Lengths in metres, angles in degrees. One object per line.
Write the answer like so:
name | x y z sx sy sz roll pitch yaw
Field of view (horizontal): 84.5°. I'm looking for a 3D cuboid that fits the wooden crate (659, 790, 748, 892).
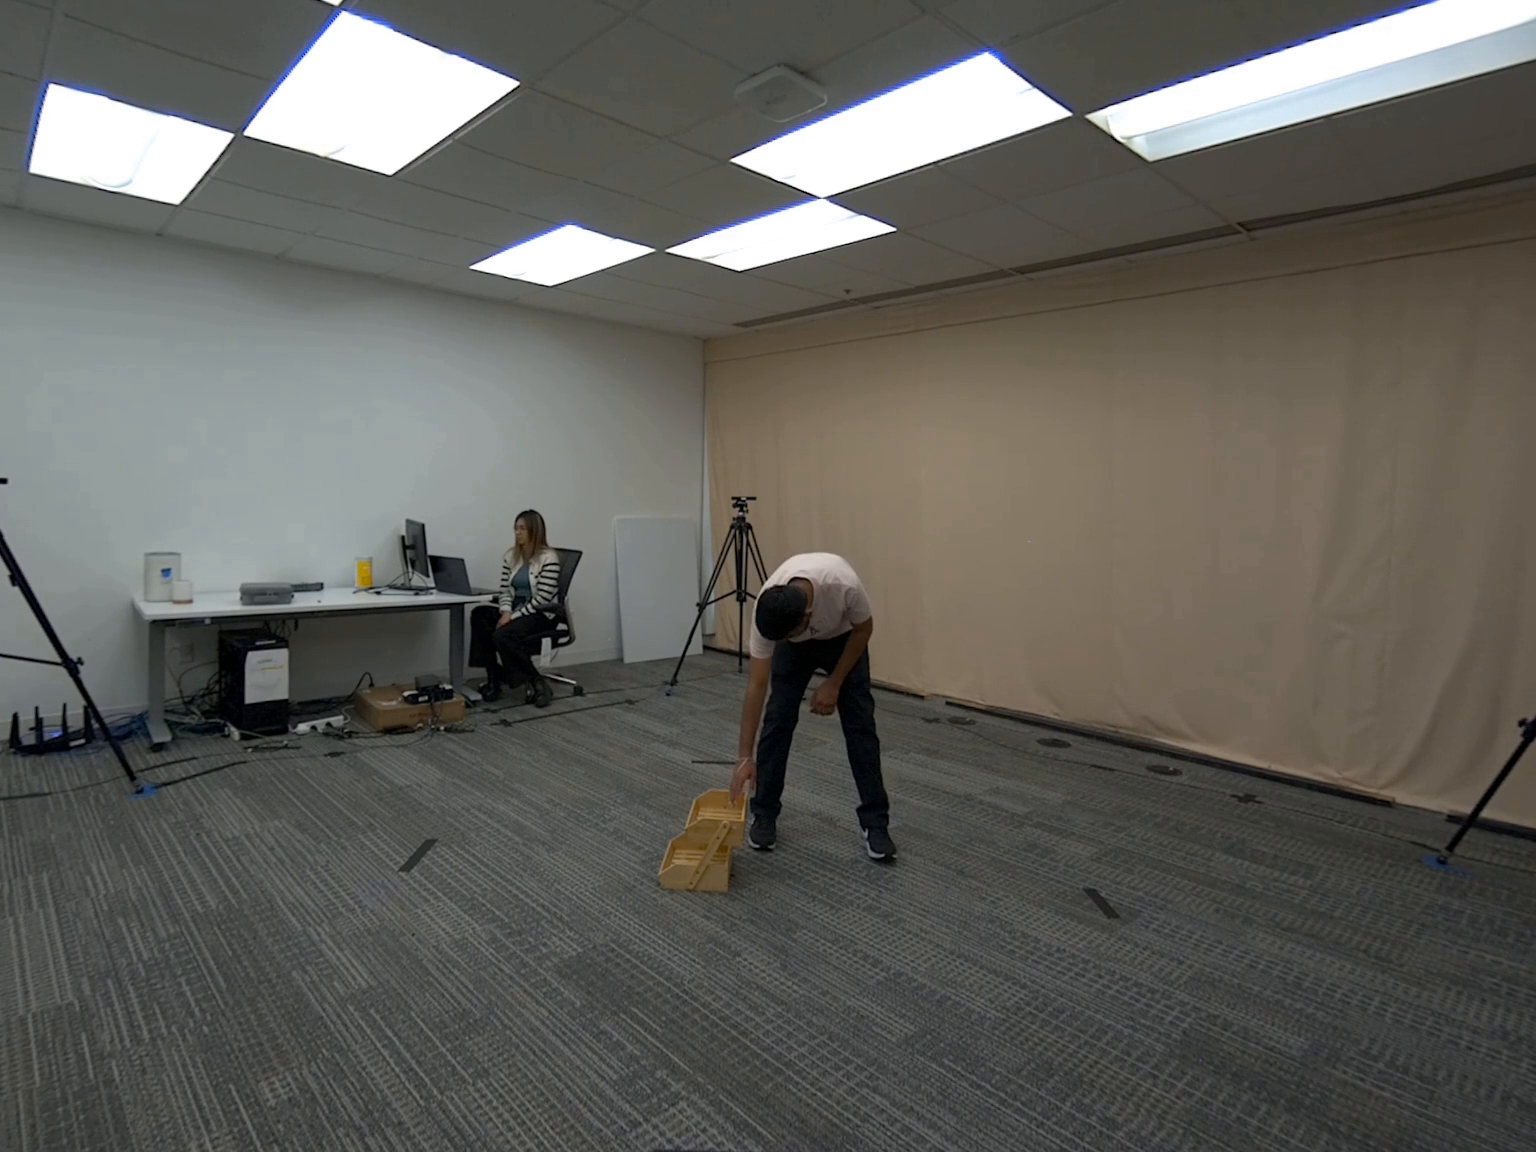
wooden crate | -0.249 0.970 3.120 0.303 0.272 0.325 2 4 2
